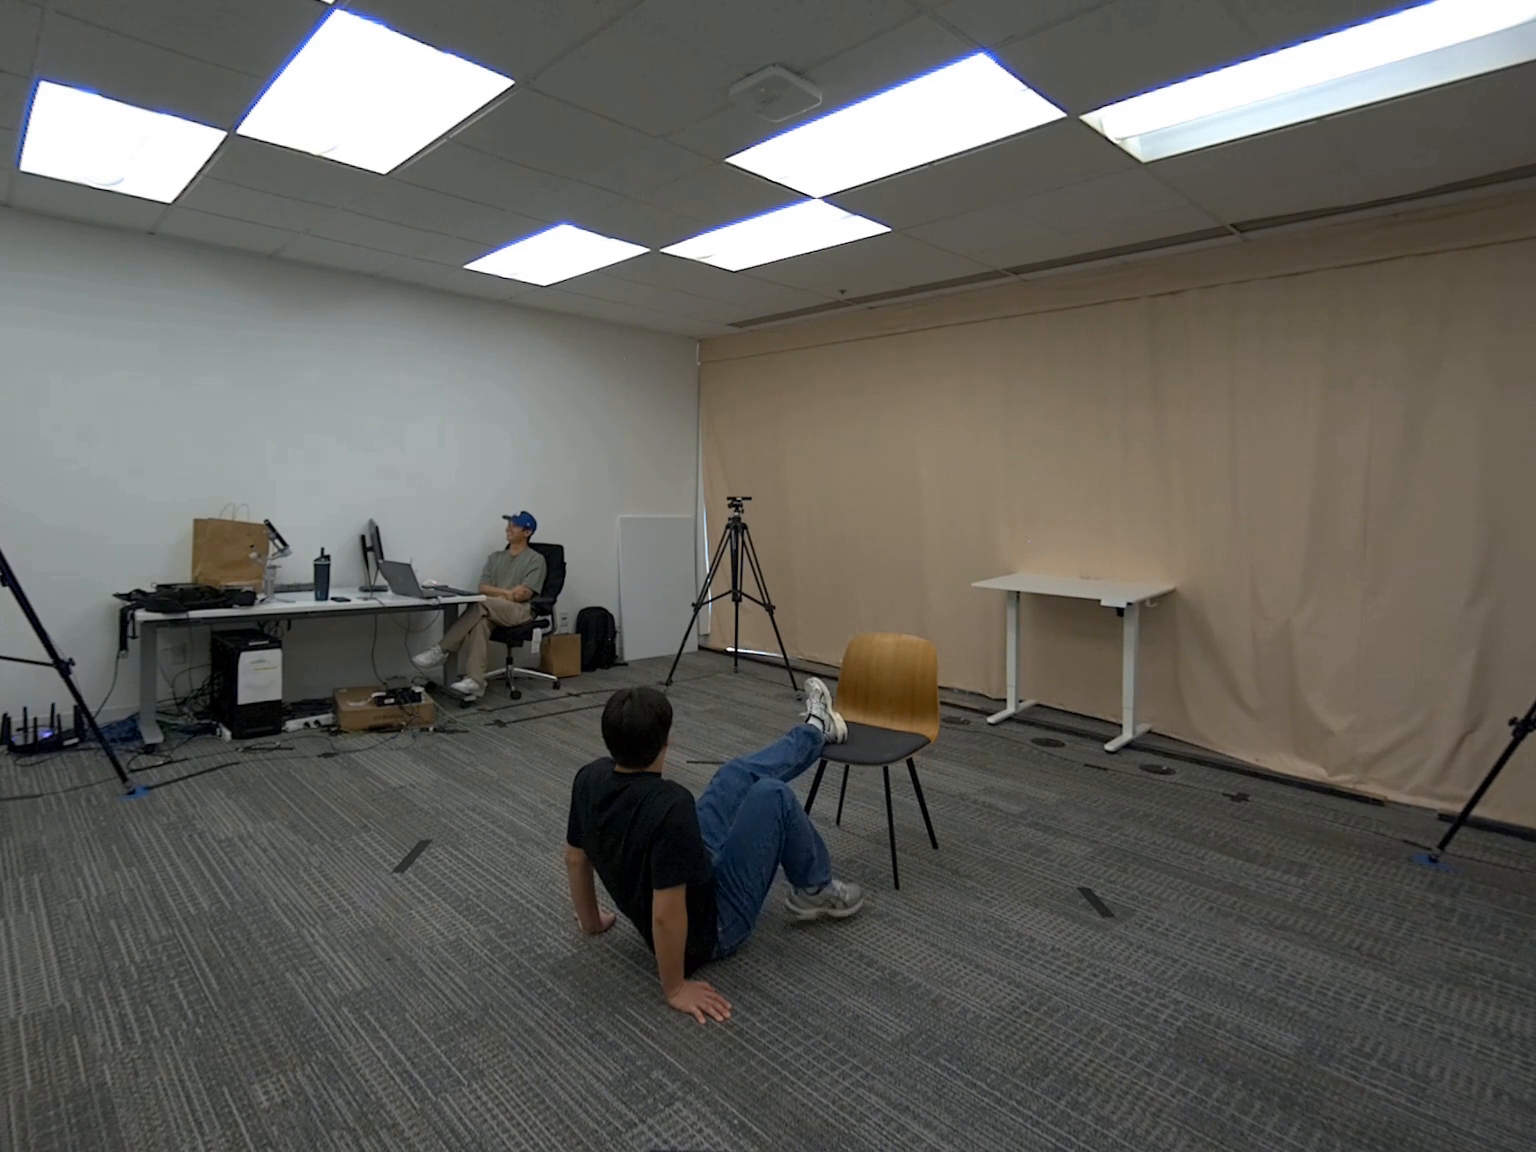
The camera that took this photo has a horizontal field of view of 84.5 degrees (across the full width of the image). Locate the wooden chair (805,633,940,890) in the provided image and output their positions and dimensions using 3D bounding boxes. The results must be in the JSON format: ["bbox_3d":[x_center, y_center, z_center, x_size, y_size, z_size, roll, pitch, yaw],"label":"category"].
[{"bbox_3d":[0.384,0.677,3.294,0.489,0.878,0.511,3,0,31],"label":"wooden chair"}]
